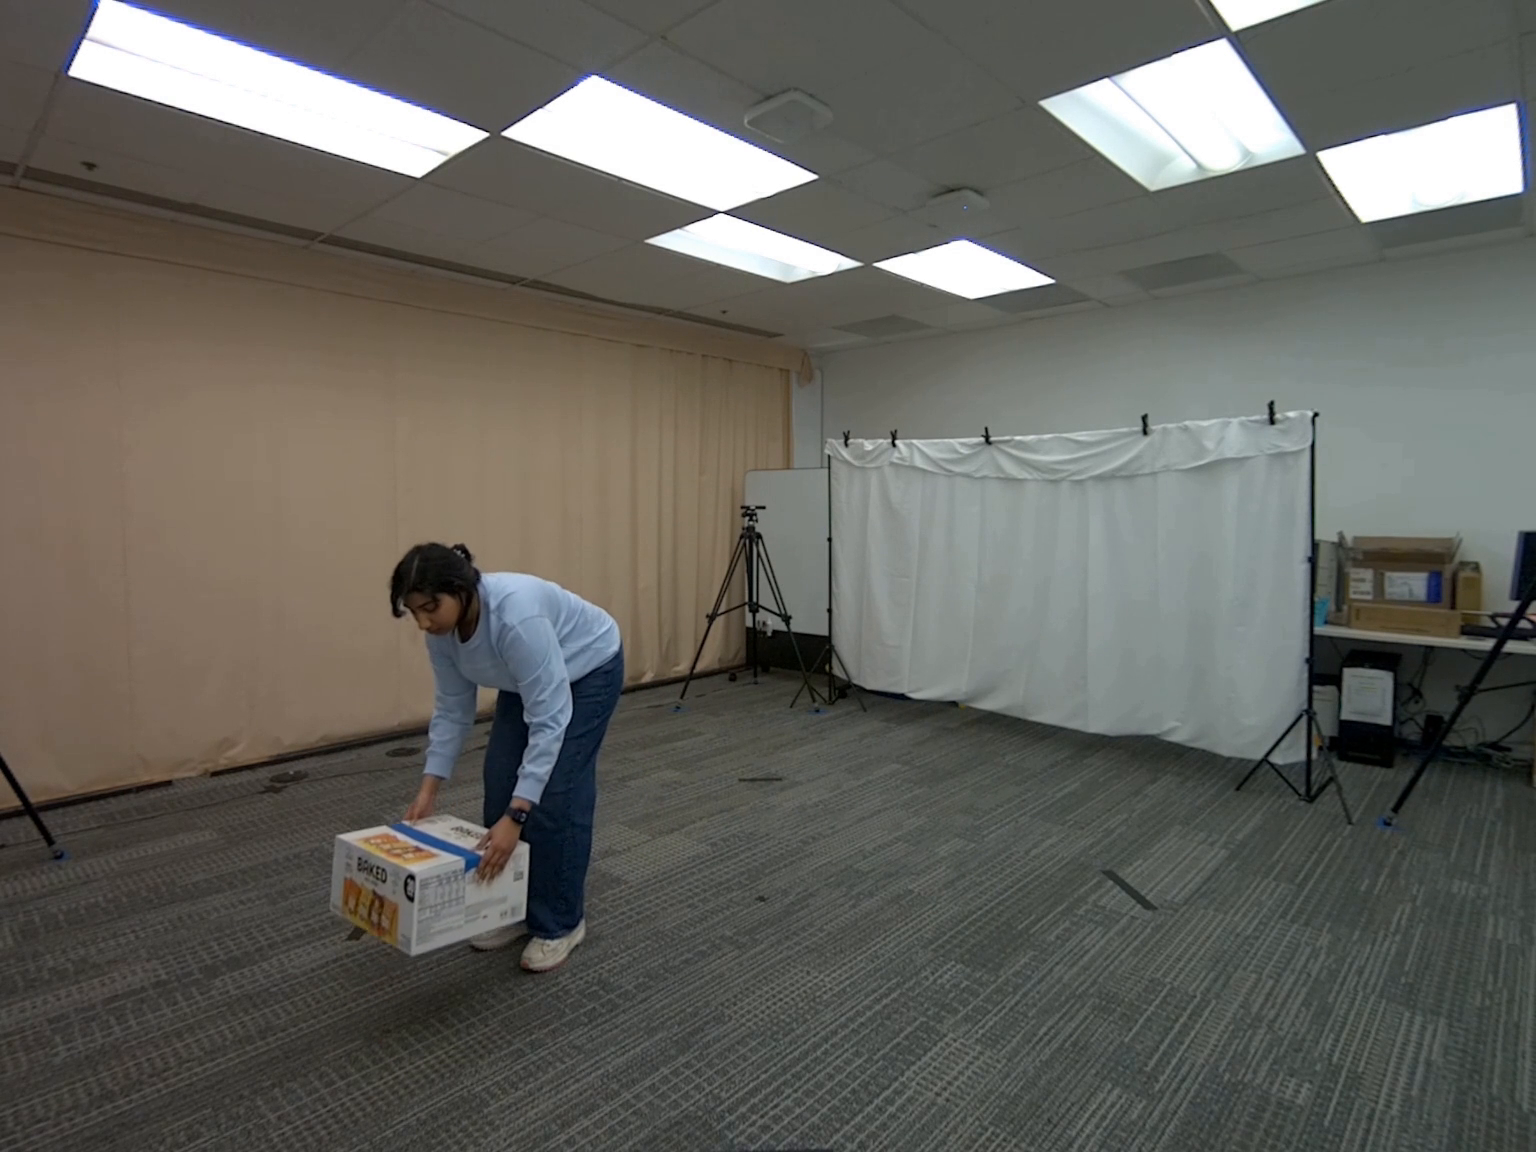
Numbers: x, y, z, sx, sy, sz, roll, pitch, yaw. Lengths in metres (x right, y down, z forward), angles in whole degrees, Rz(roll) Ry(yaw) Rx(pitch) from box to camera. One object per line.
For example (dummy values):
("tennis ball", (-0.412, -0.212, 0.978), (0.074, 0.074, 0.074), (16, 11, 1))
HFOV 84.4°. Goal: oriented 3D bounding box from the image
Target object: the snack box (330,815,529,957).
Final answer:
("snack box", (-0.907, 0.808, 2.272), (0.418, 0.206, 0.329), (1, -2, 38))
